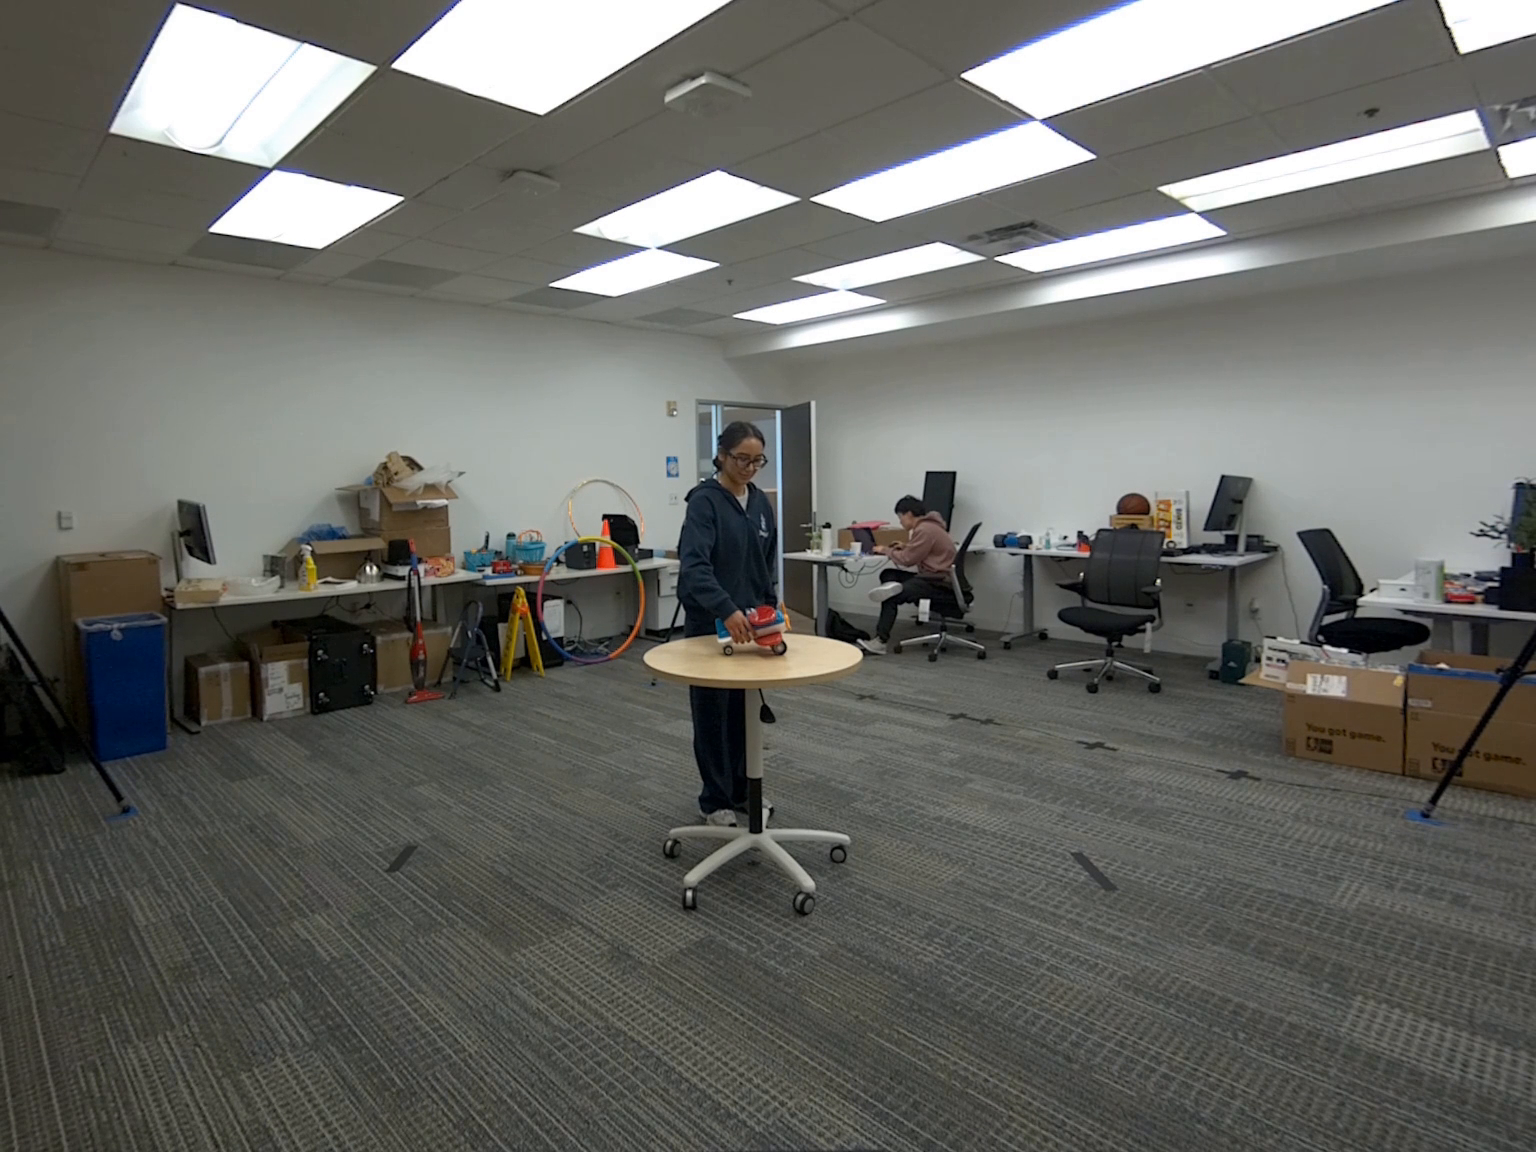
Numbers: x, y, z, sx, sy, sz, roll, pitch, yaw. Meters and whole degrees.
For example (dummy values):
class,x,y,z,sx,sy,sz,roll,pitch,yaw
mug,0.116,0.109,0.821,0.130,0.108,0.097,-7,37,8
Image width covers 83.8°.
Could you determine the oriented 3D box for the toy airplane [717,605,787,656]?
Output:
class,x,y,z,sx,sy,sz,roll,pitch,yaw
toy airplane,-0.053,0.203,2.991,0.253,0.155,0.258,-5,8,-30
